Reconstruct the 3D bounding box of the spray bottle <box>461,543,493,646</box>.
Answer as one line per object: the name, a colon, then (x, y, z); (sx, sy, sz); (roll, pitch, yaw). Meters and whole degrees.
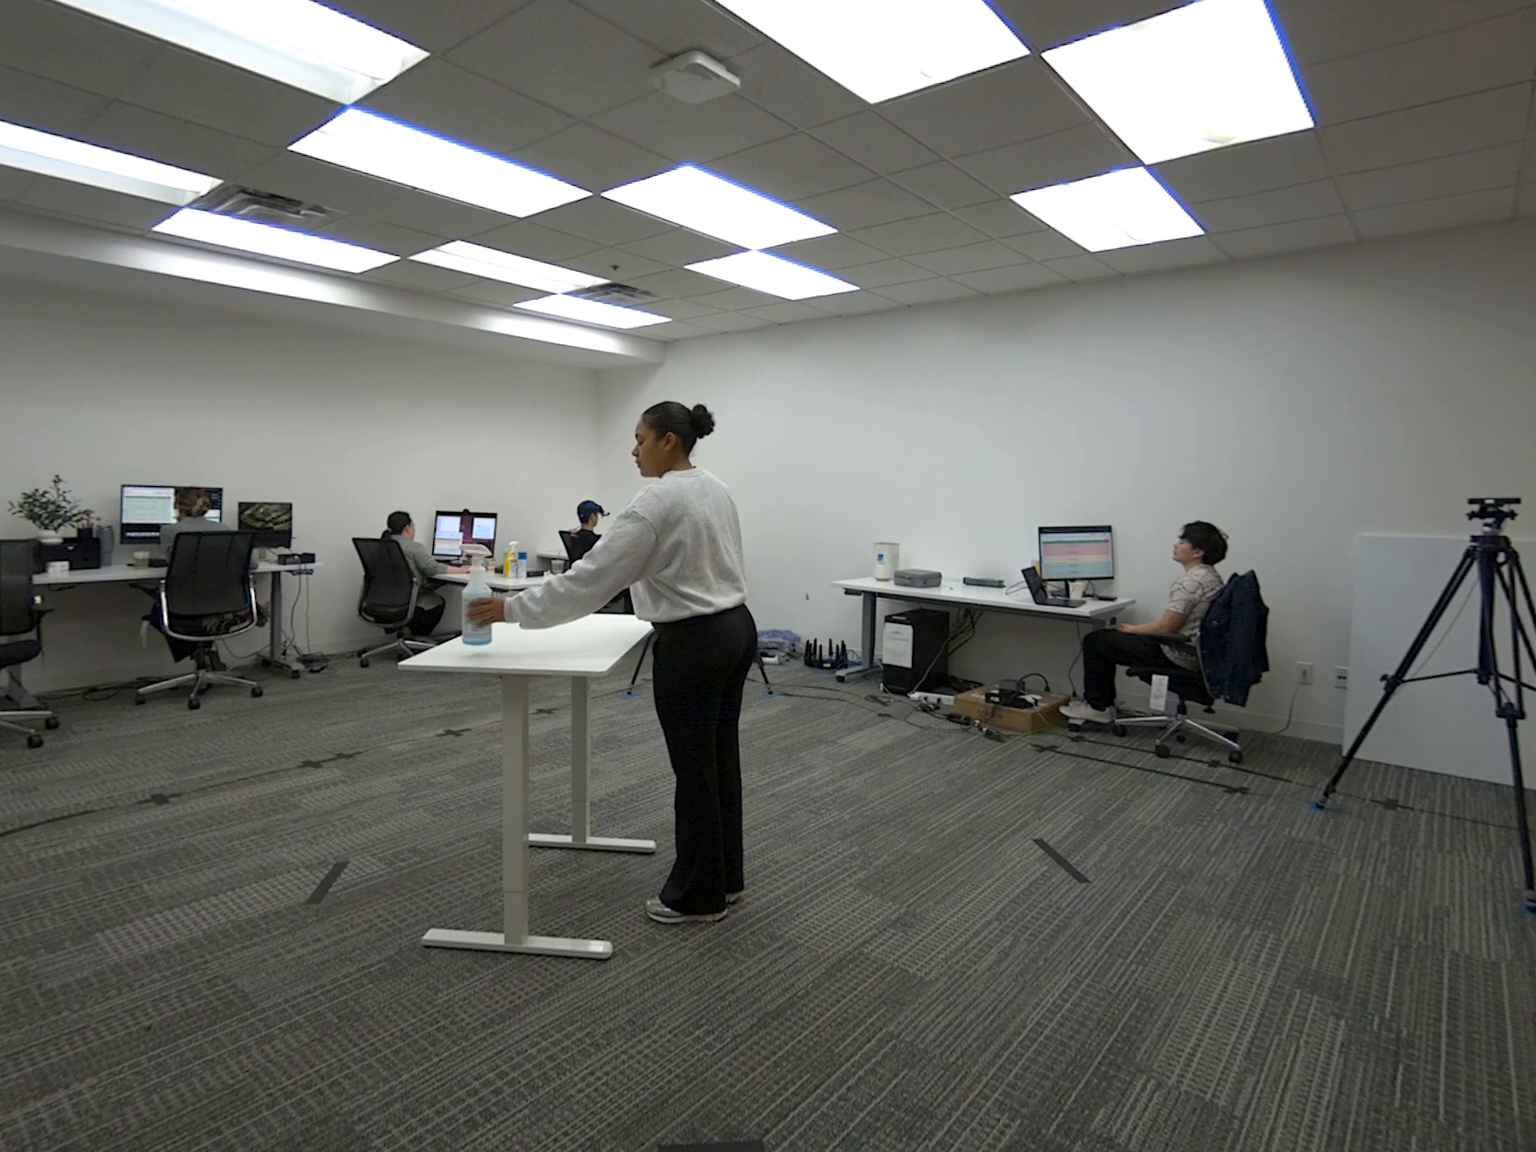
spray bottle: (-0.867, 0.054, 2.527); (0.091, 0.296, 0.086); (3, 6, 13)
